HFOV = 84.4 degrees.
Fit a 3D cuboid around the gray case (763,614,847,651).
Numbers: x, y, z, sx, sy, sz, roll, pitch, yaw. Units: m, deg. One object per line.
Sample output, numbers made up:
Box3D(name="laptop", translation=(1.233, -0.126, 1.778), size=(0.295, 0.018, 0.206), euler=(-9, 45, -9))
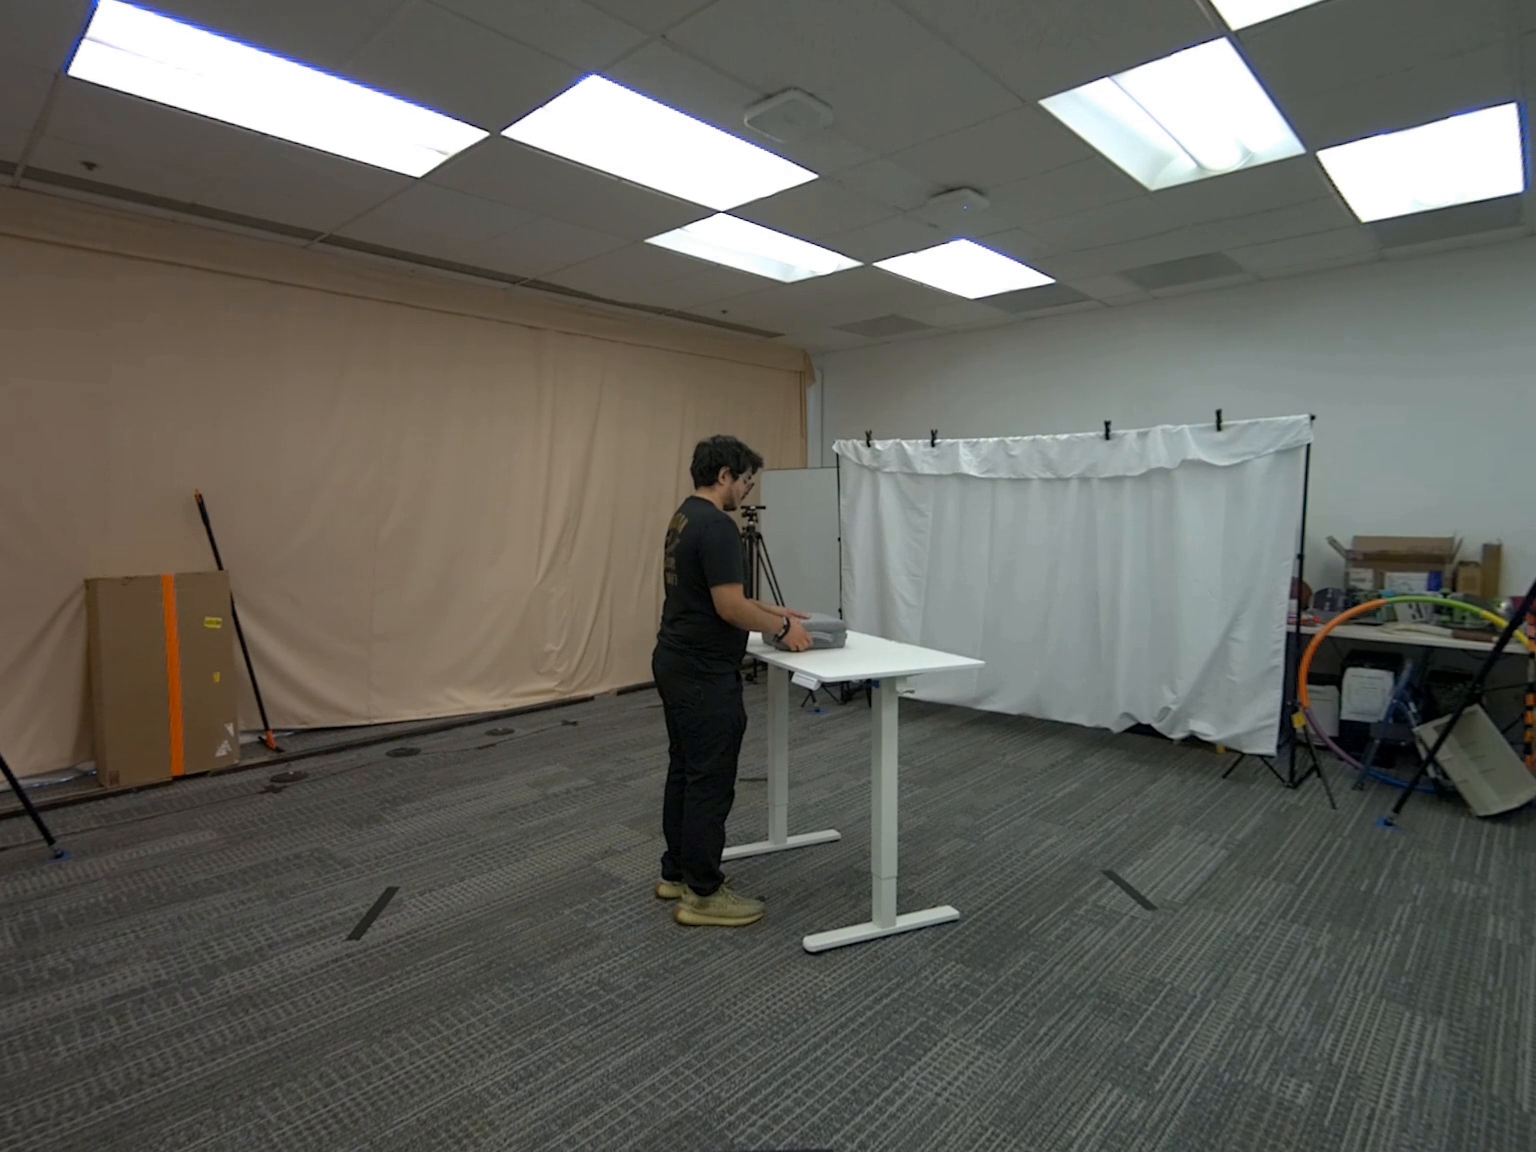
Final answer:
Box3D(name="gray case", translation=(0.138, 0.206, 3.088), size=(0.253, 0.104, 0.265), euler=(-3, 4, -16))
